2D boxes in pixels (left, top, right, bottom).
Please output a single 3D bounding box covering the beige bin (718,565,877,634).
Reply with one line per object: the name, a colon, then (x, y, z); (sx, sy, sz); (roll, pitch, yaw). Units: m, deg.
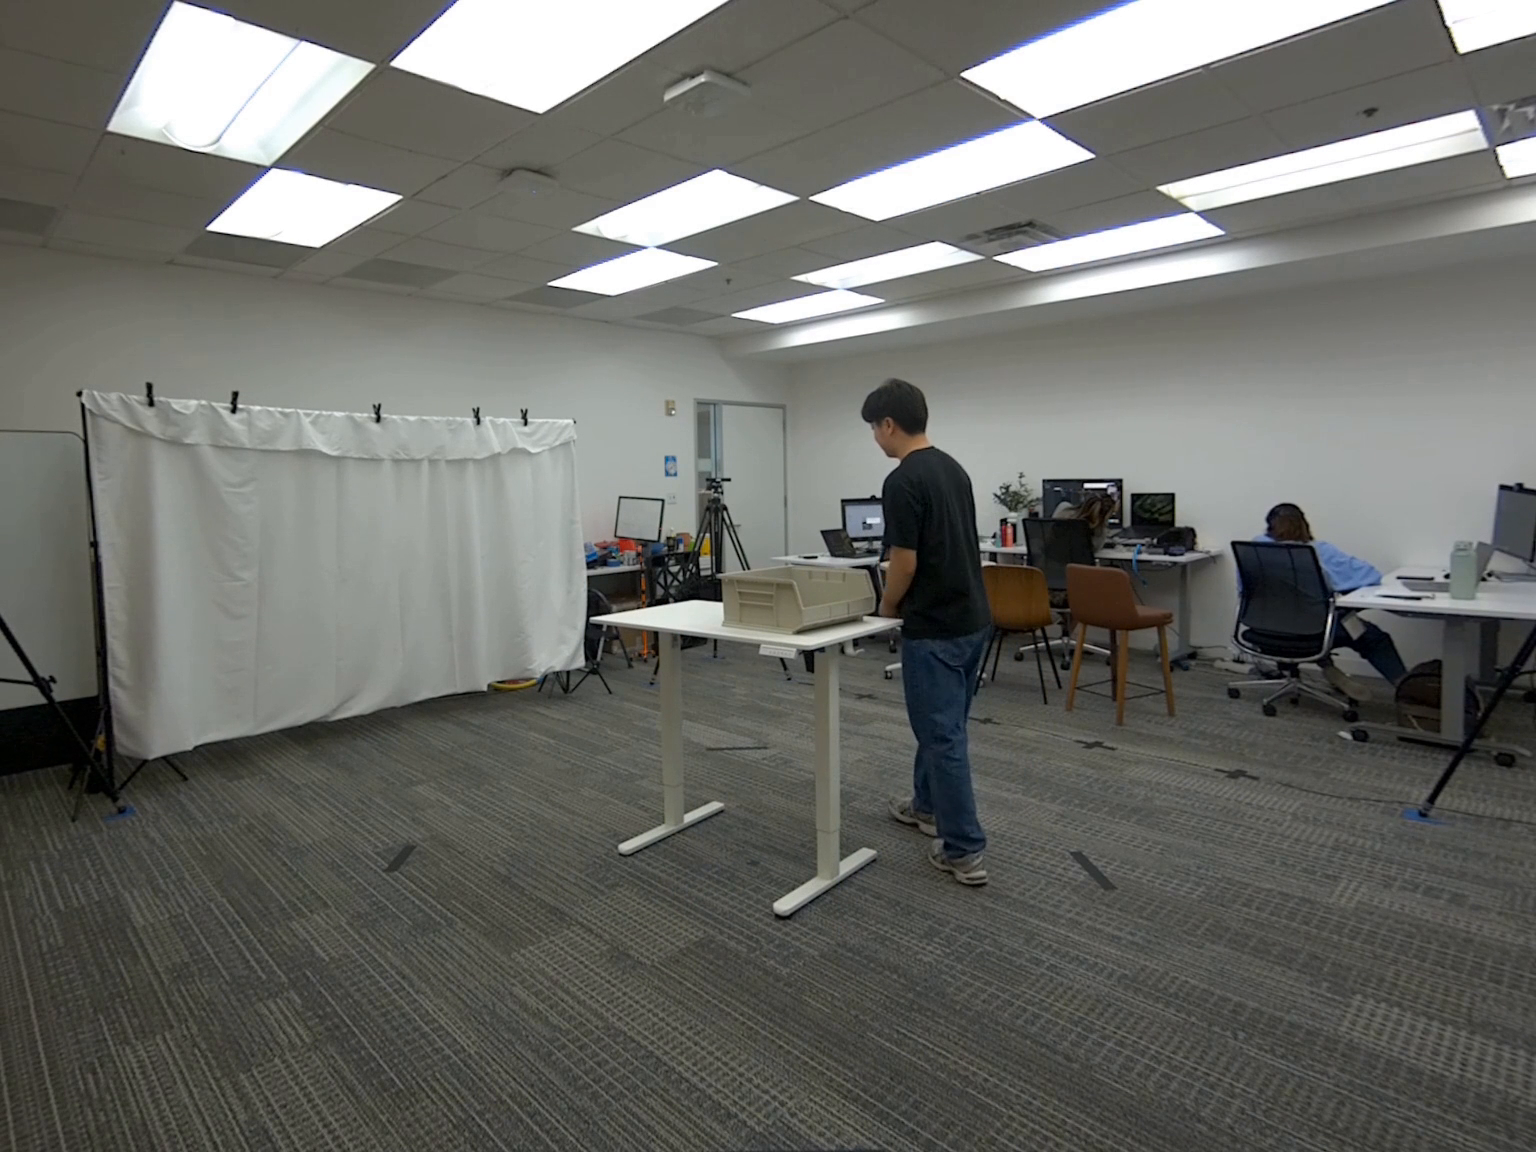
beige bin: (0.104, 0.080, 2.992); (0.389, 0.188, 0.411); (3, 7, 42)
